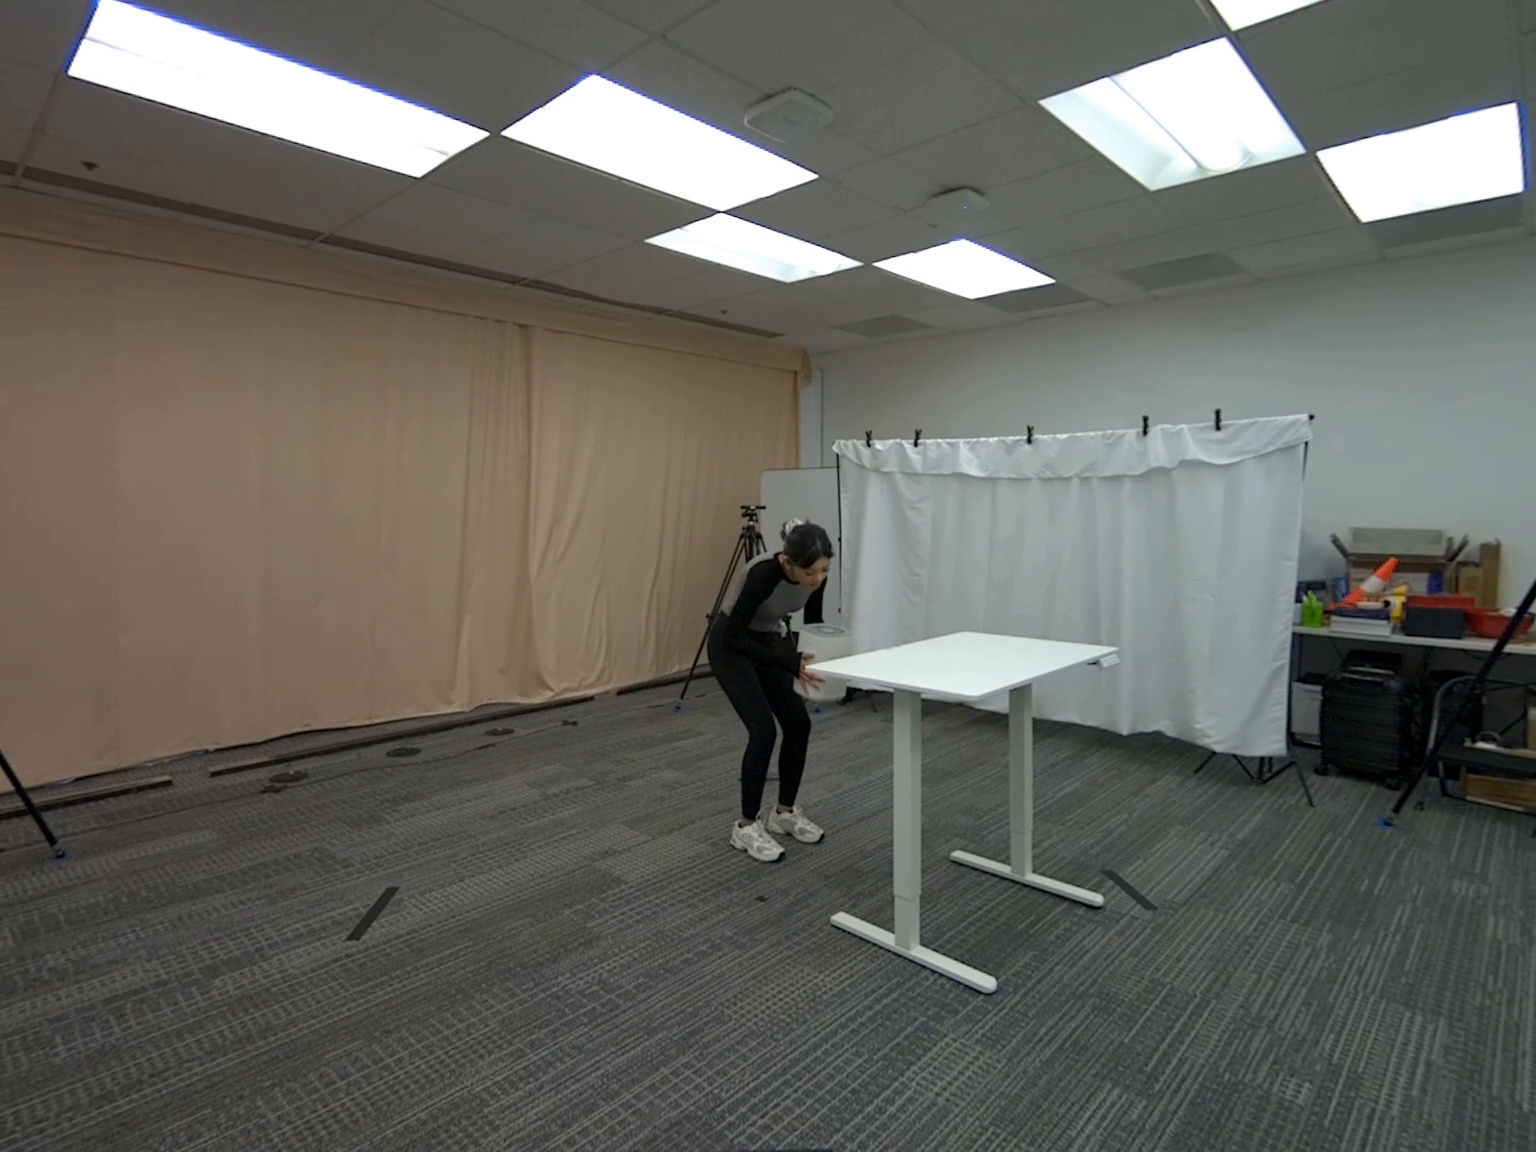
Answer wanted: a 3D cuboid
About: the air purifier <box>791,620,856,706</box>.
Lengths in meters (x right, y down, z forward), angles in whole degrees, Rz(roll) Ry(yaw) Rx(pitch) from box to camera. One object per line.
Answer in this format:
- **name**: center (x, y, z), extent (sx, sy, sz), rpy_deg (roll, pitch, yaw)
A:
- **air purifier**: center (0.197, 0.322, 3.201), extent (0.166, 0.264, 0.178), rpy_deg (-3, 10, -41)
